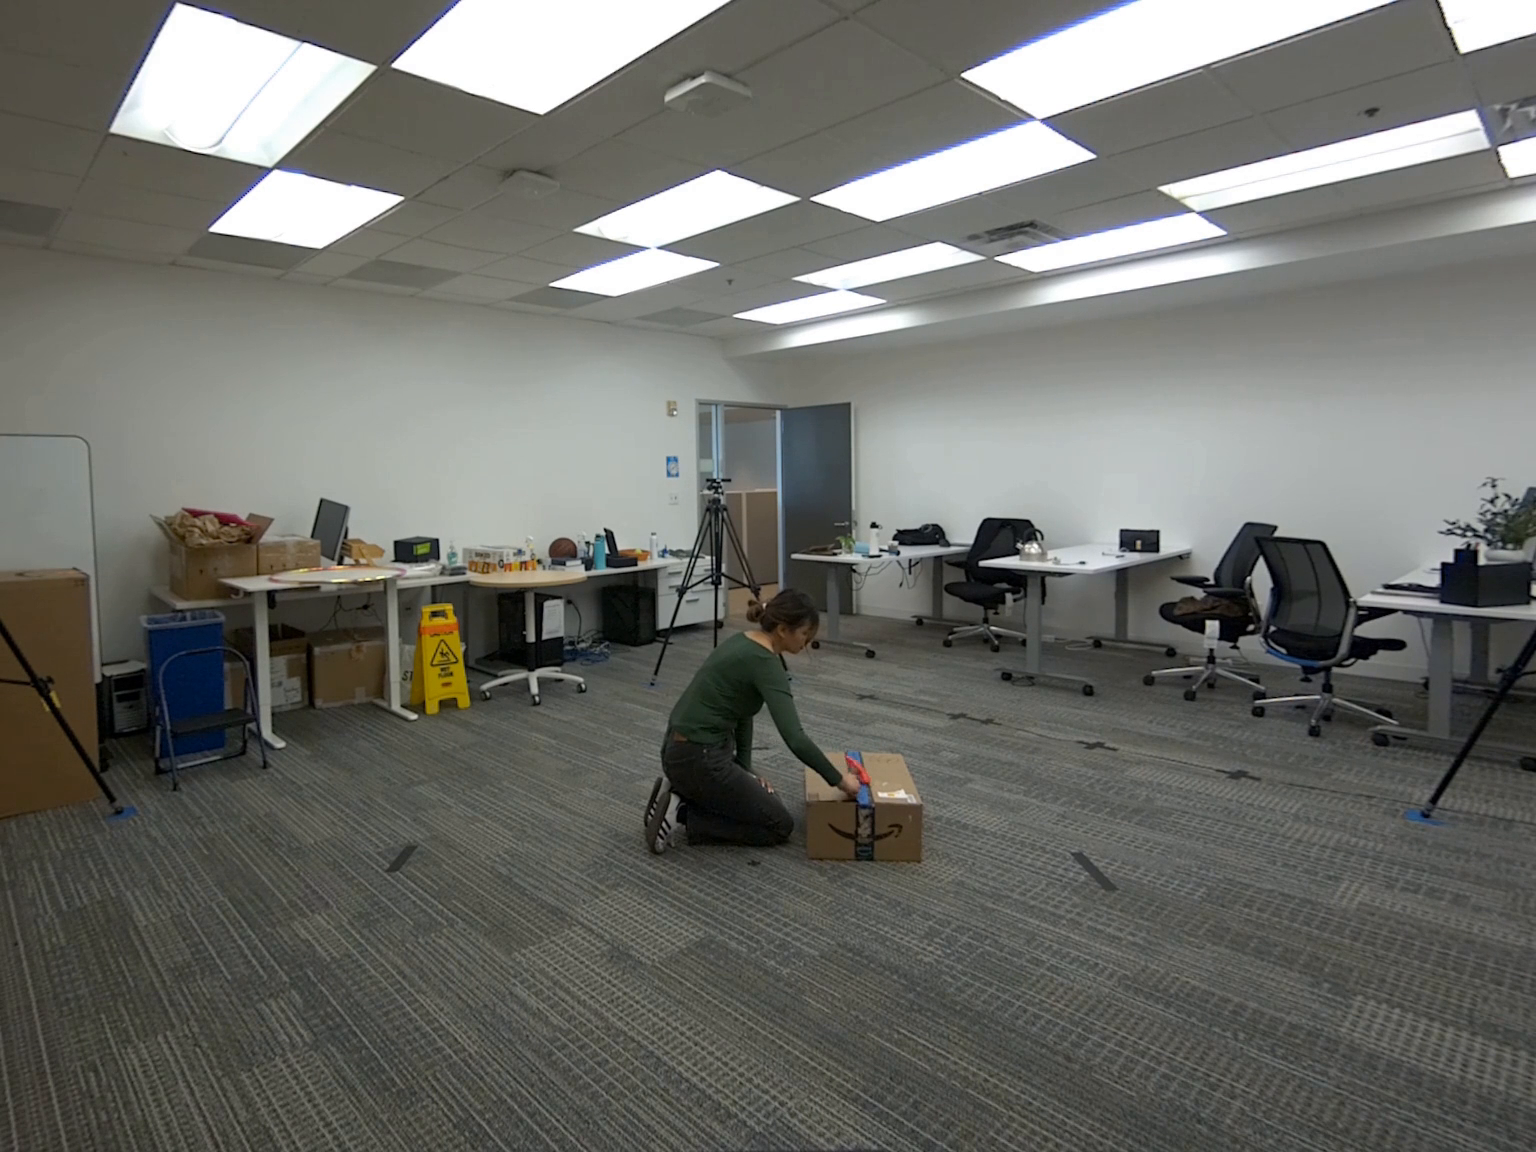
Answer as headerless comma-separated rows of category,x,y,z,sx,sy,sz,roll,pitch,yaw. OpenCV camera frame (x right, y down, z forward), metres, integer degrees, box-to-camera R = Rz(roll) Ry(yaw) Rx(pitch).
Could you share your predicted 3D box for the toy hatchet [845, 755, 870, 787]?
toy hatchet,0.325,0.765,3.200,0.029,0.131,0.270,-46,3,13
